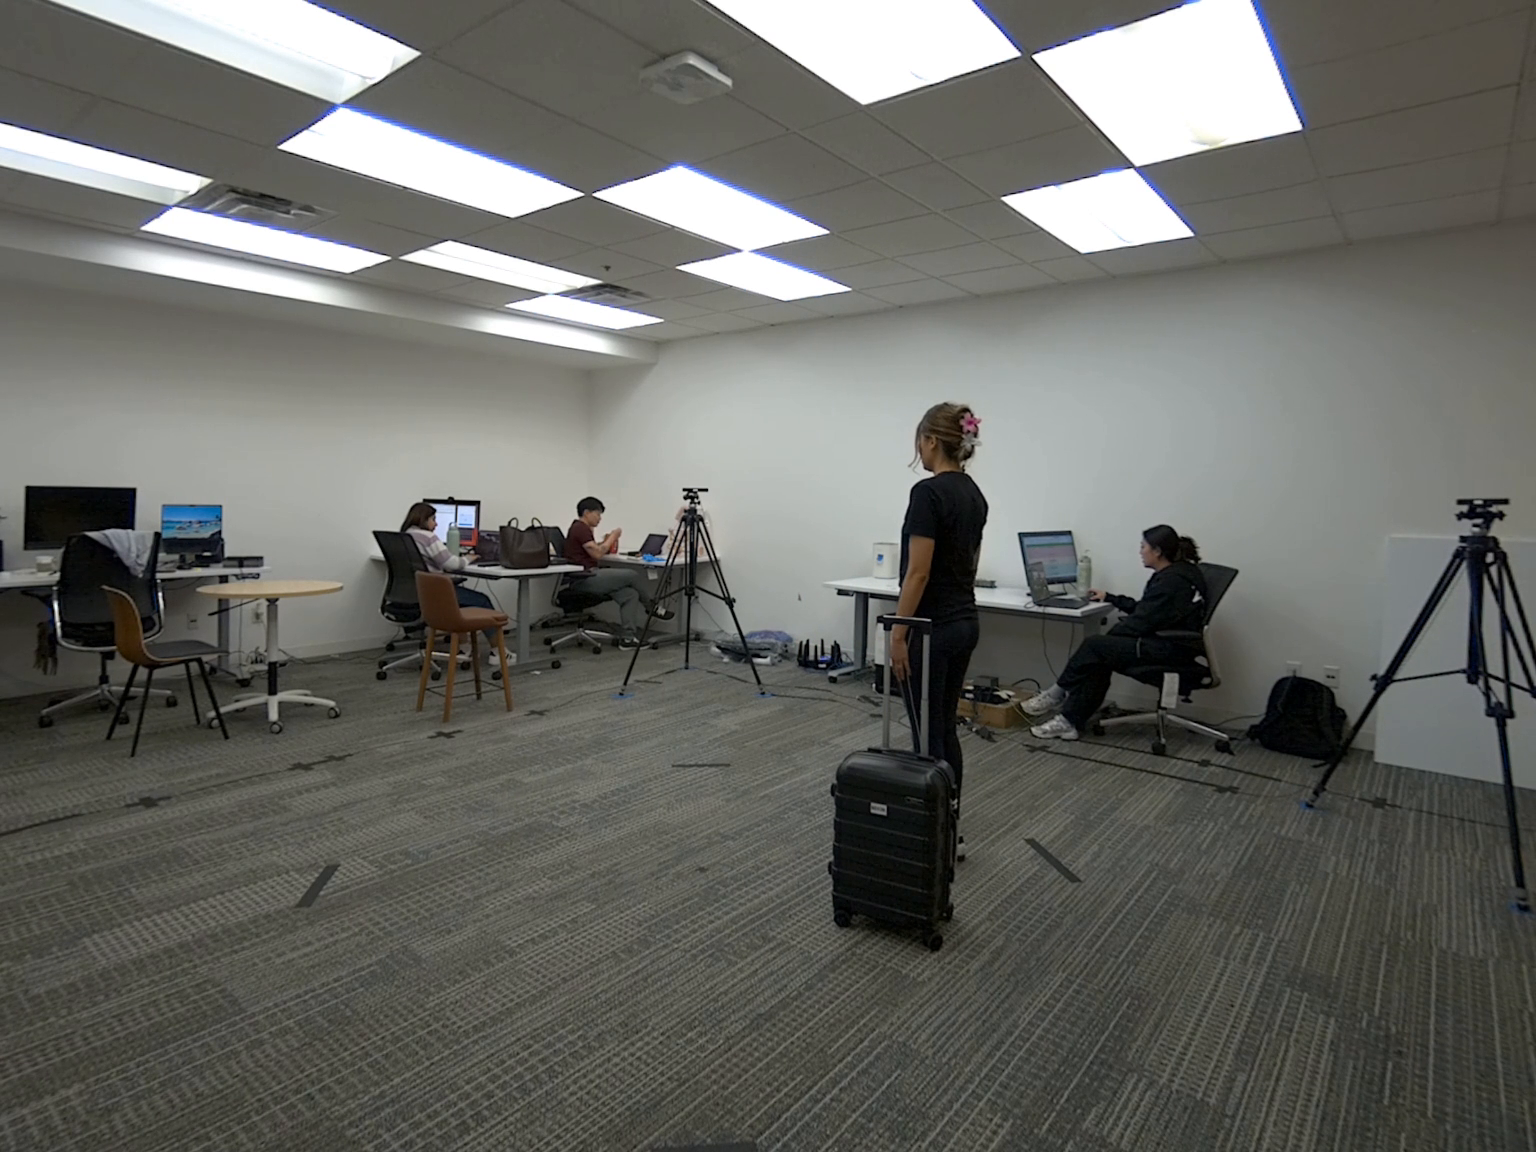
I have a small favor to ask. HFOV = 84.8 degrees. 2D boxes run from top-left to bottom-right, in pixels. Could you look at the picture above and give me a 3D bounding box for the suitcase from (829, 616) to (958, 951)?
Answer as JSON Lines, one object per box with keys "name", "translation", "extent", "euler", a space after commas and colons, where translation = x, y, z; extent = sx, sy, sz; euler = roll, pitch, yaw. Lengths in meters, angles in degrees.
{"name": "suitcase", "translation": [0.406, 0.641, 2.728], "extent": [0.394, 0.974, 0.251], "euler": [3, 5, 27]}
